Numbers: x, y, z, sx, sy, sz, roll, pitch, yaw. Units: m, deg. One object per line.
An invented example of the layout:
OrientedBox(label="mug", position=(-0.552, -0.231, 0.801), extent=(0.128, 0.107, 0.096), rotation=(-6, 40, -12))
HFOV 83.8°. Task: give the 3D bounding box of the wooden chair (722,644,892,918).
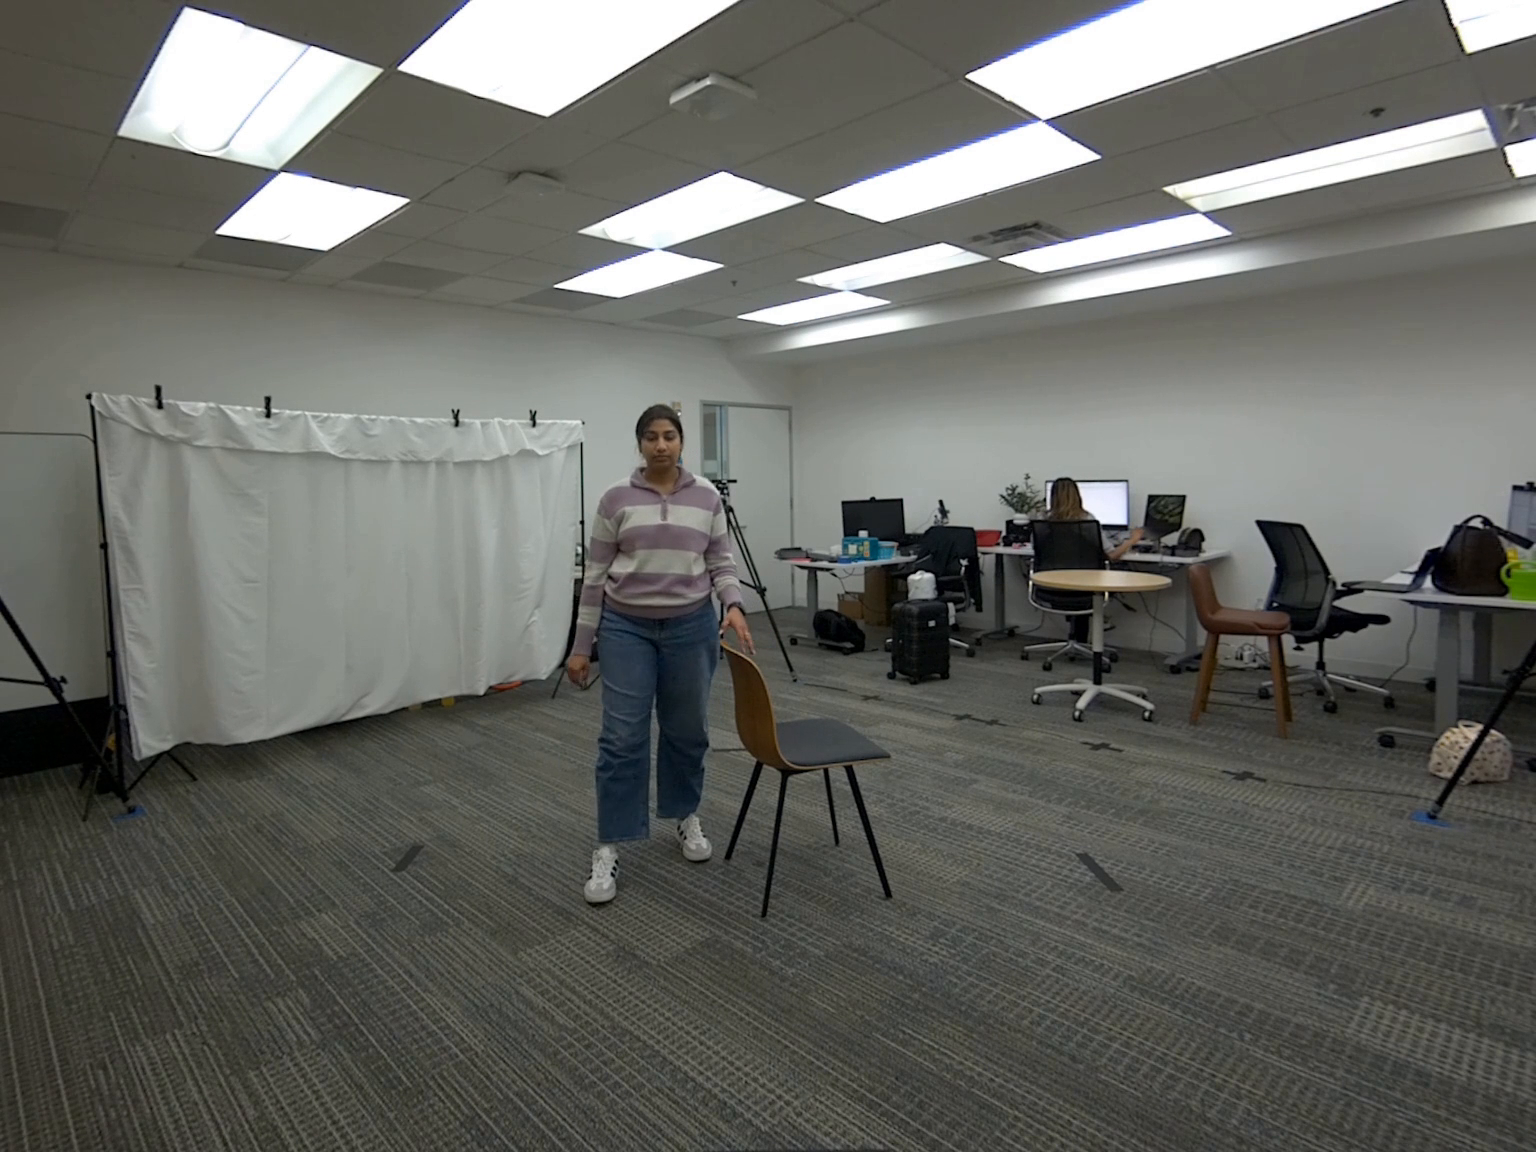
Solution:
OrientedBox(label="wooden chair", position=(0.128, 0.630, 2.963), extent=(0.516, 0.873, 0.487), rotation=(-7, 5, -17))
